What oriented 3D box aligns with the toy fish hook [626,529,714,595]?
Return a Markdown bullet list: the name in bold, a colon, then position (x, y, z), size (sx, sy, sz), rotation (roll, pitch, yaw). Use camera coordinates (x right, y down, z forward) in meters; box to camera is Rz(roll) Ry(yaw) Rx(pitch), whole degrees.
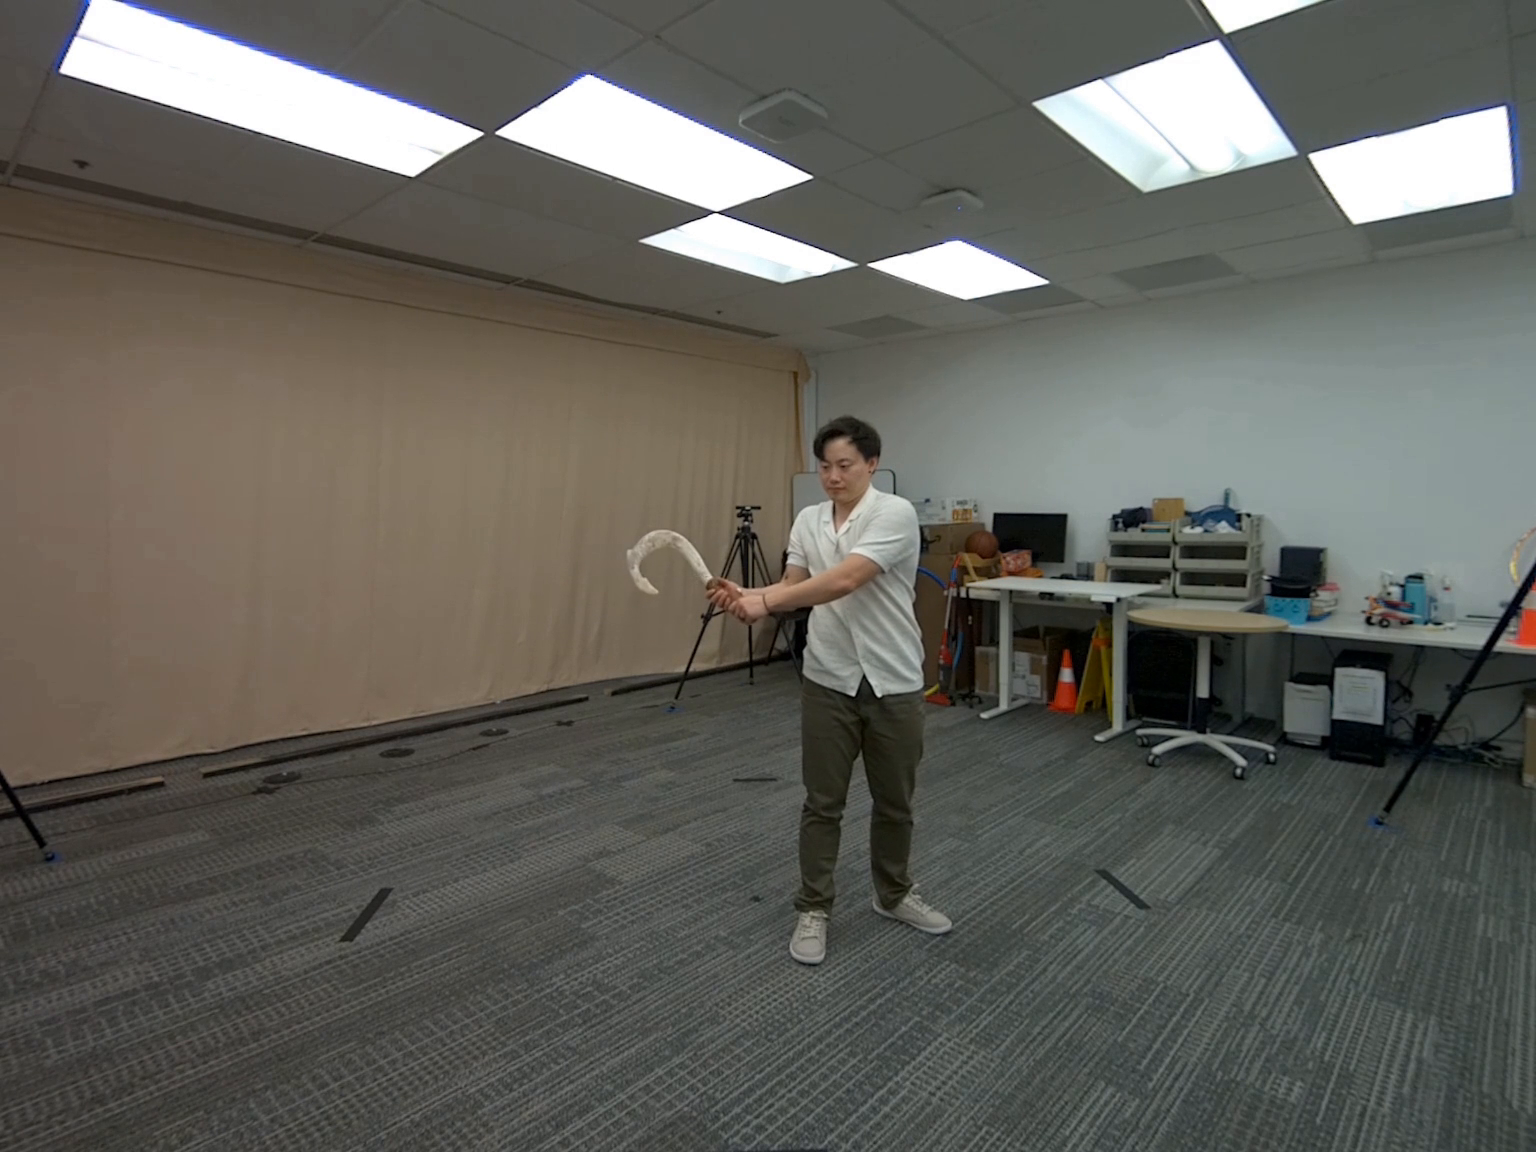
- **toy fish hook**: position (-0.245, 0.035, 2.628), size (0.523, 0.224, 0.047), rotation (39, -11, 31)
